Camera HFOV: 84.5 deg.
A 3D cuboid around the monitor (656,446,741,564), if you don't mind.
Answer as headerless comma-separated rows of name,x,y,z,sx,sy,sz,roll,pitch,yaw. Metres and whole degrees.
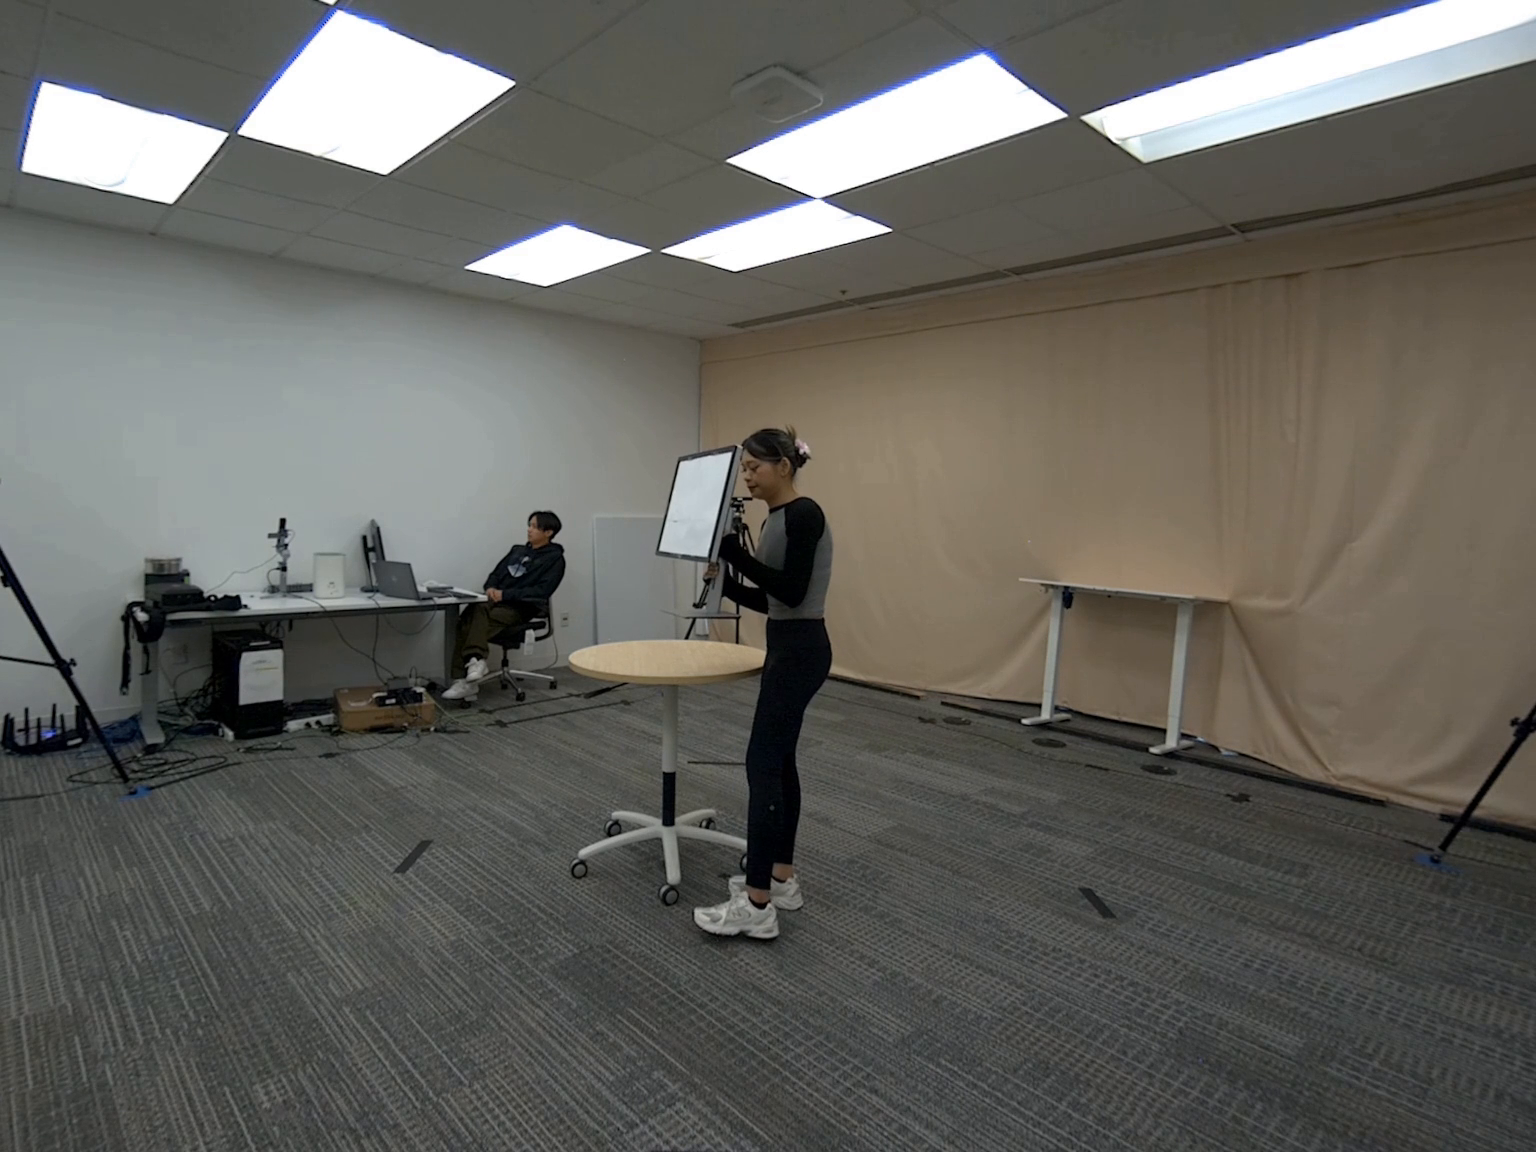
monitor,-0.216,-0.138,2.773,0.184,0.522,0.549,1,2,-25
